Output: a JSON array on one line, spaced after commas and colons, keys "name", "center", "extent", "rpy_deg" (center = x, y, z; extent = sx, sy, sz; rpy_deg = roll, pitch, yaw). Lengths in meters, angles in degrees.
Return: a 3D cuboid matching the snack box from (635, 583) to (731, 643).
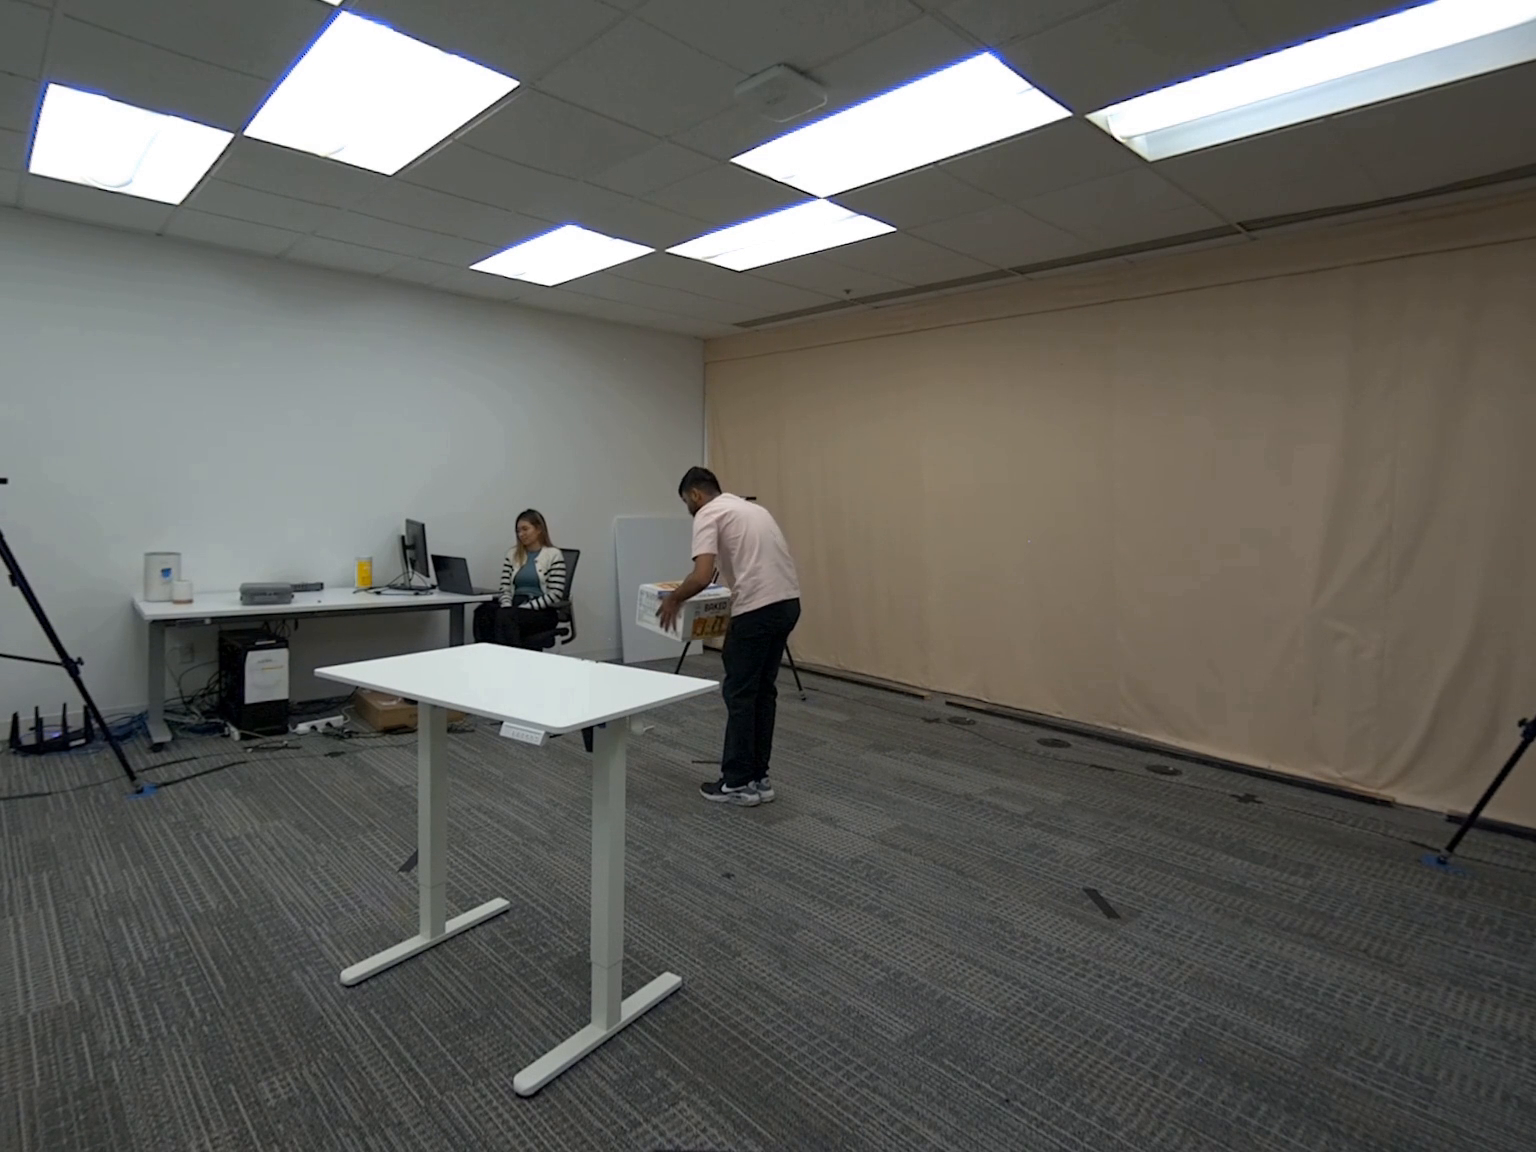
[{"name": "snack box", "center": [-0.381, 0.166, 4.127], "extent": [0.350, 0.204, 0.396], "rpy_deg": [15, 14, 42]}]
